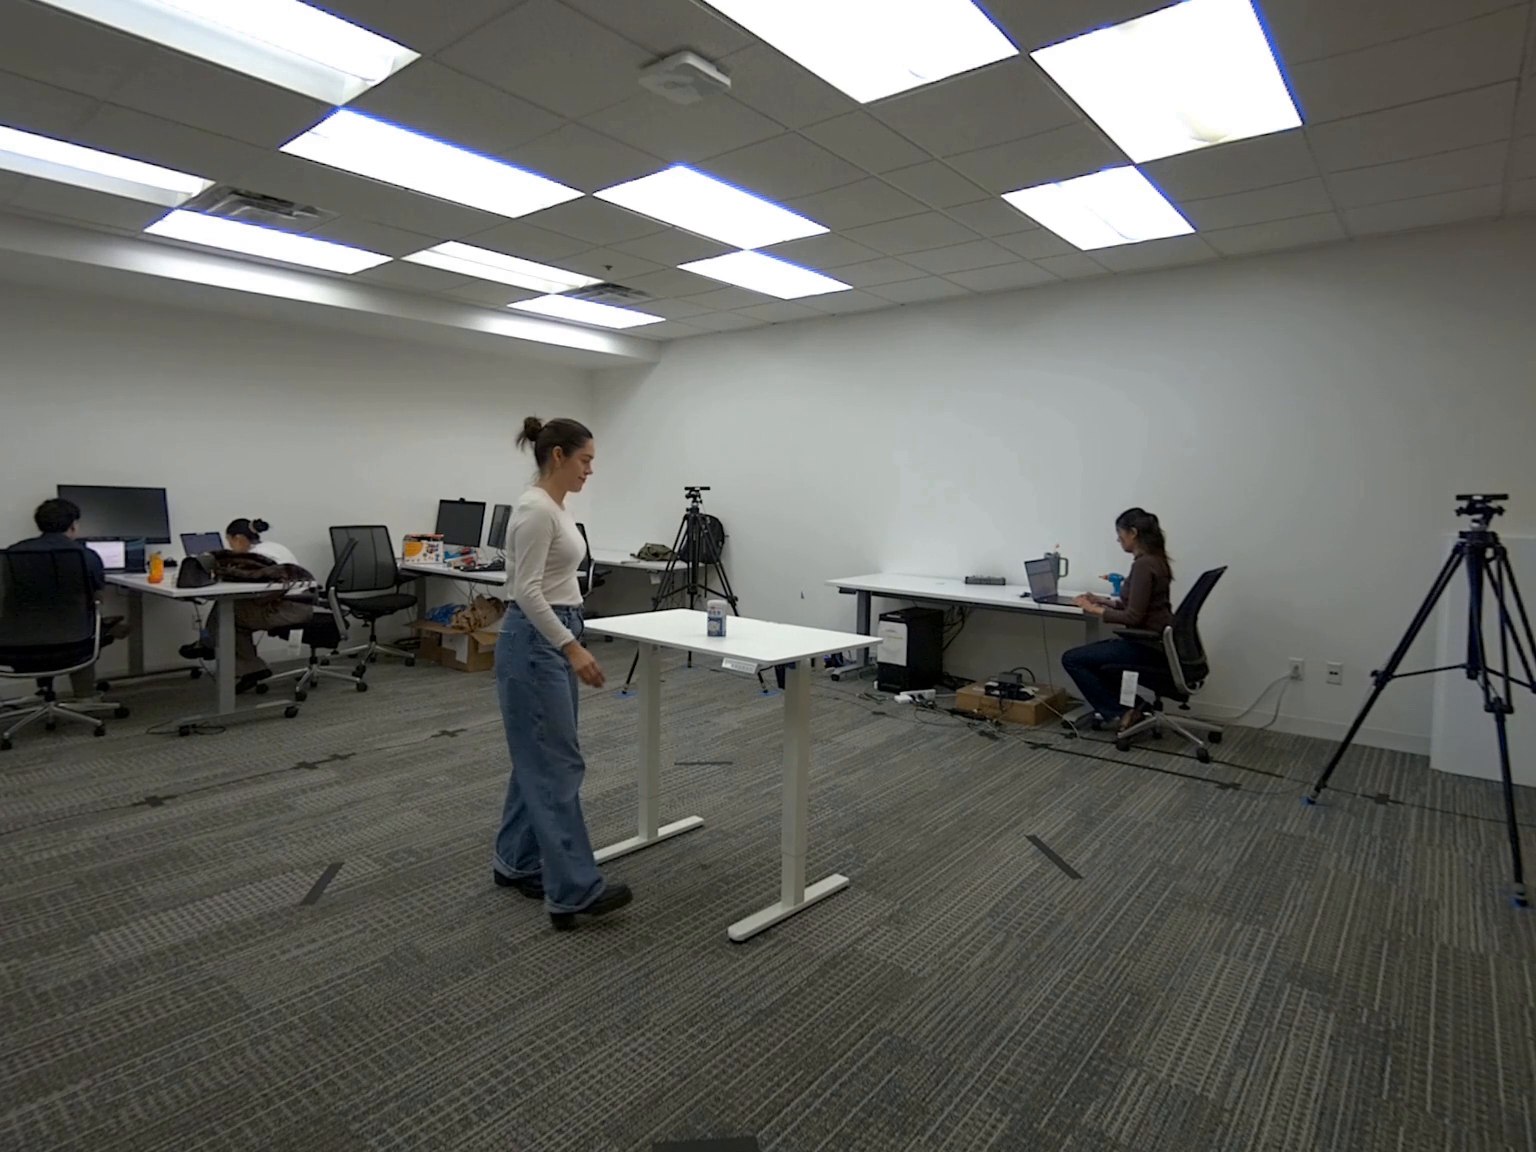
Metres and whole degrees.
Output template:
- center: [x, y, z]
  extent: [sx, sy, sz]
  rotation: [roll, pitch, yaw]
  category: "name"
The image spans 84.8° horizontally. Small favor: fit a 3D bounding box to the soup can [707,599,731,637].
- center: [-0.188, 0.149, 2.900]
  extent: [0.067, 0.121, 0.067]
  rotation: [1, 1, -2]
  category: "soup can"
